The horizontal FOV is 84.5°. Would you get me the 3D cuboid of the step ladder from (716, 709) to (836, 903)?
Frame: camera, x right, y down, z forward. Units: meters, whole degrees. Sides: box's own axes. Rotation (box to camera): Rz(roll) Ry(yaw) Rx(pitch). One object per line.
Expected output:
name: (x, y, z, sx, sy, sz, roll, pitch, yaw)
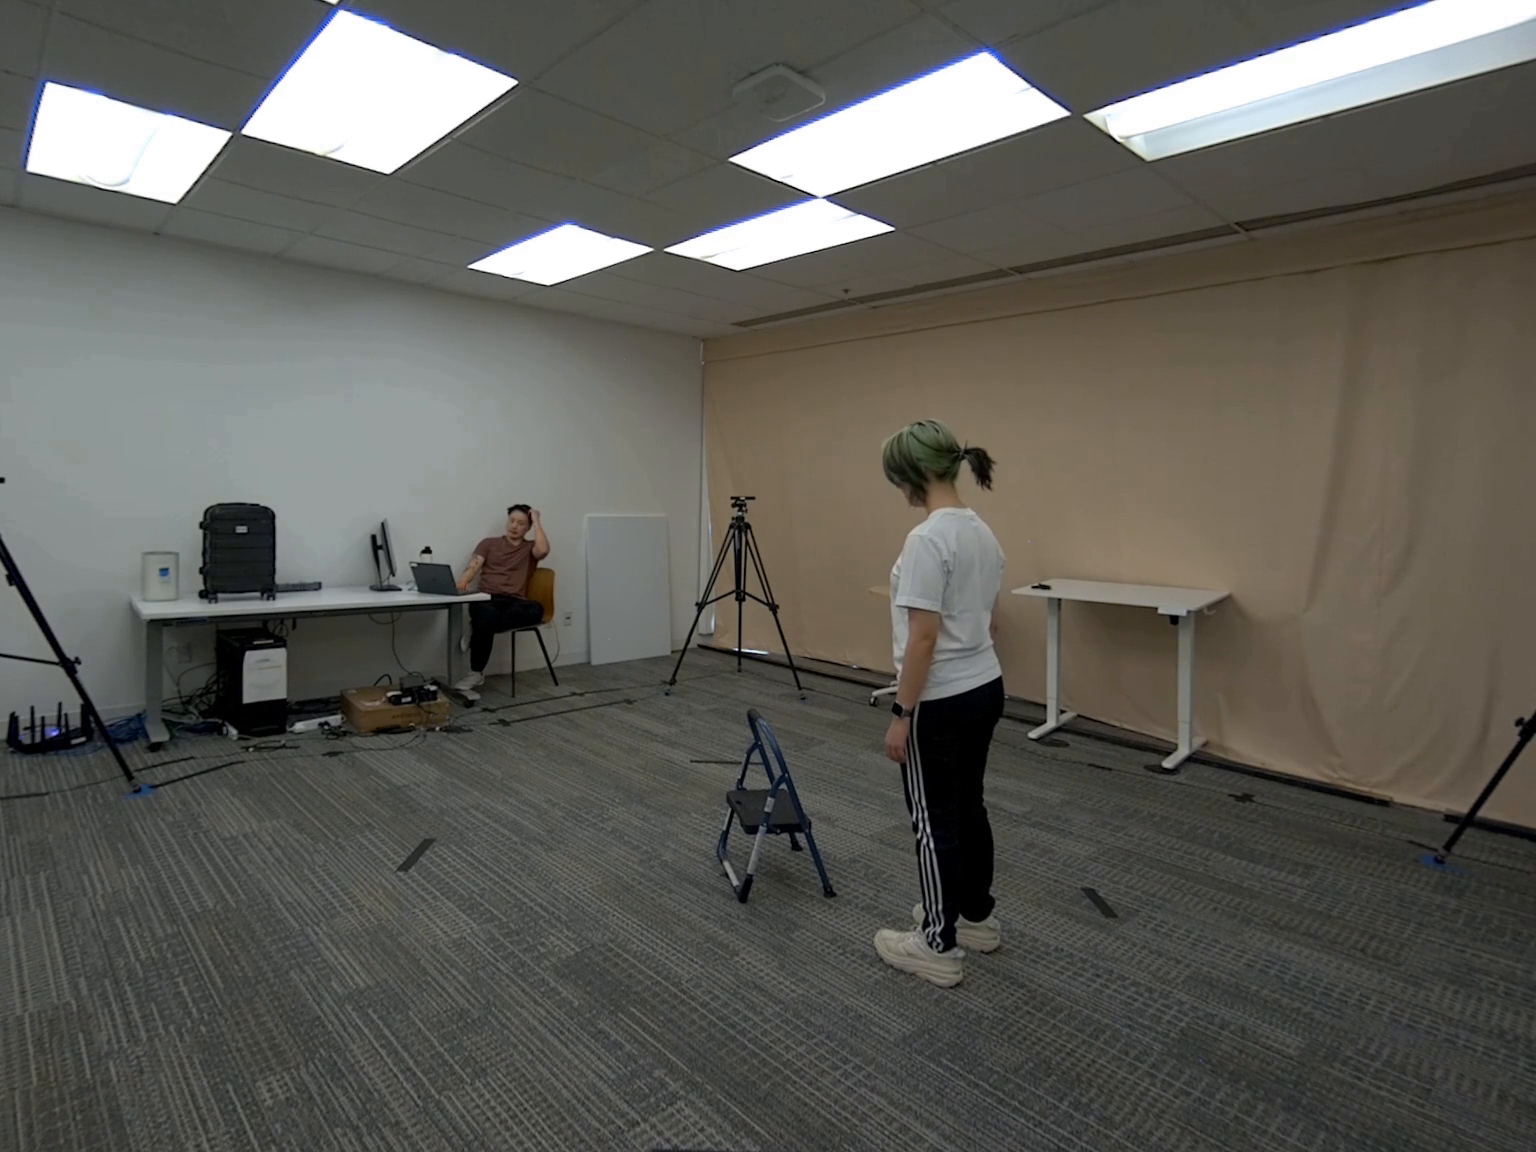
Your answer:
step ladder: (0.017, 0.807, 3.106, 0.345, 0.605, 0.436, 0, 3, -15)
